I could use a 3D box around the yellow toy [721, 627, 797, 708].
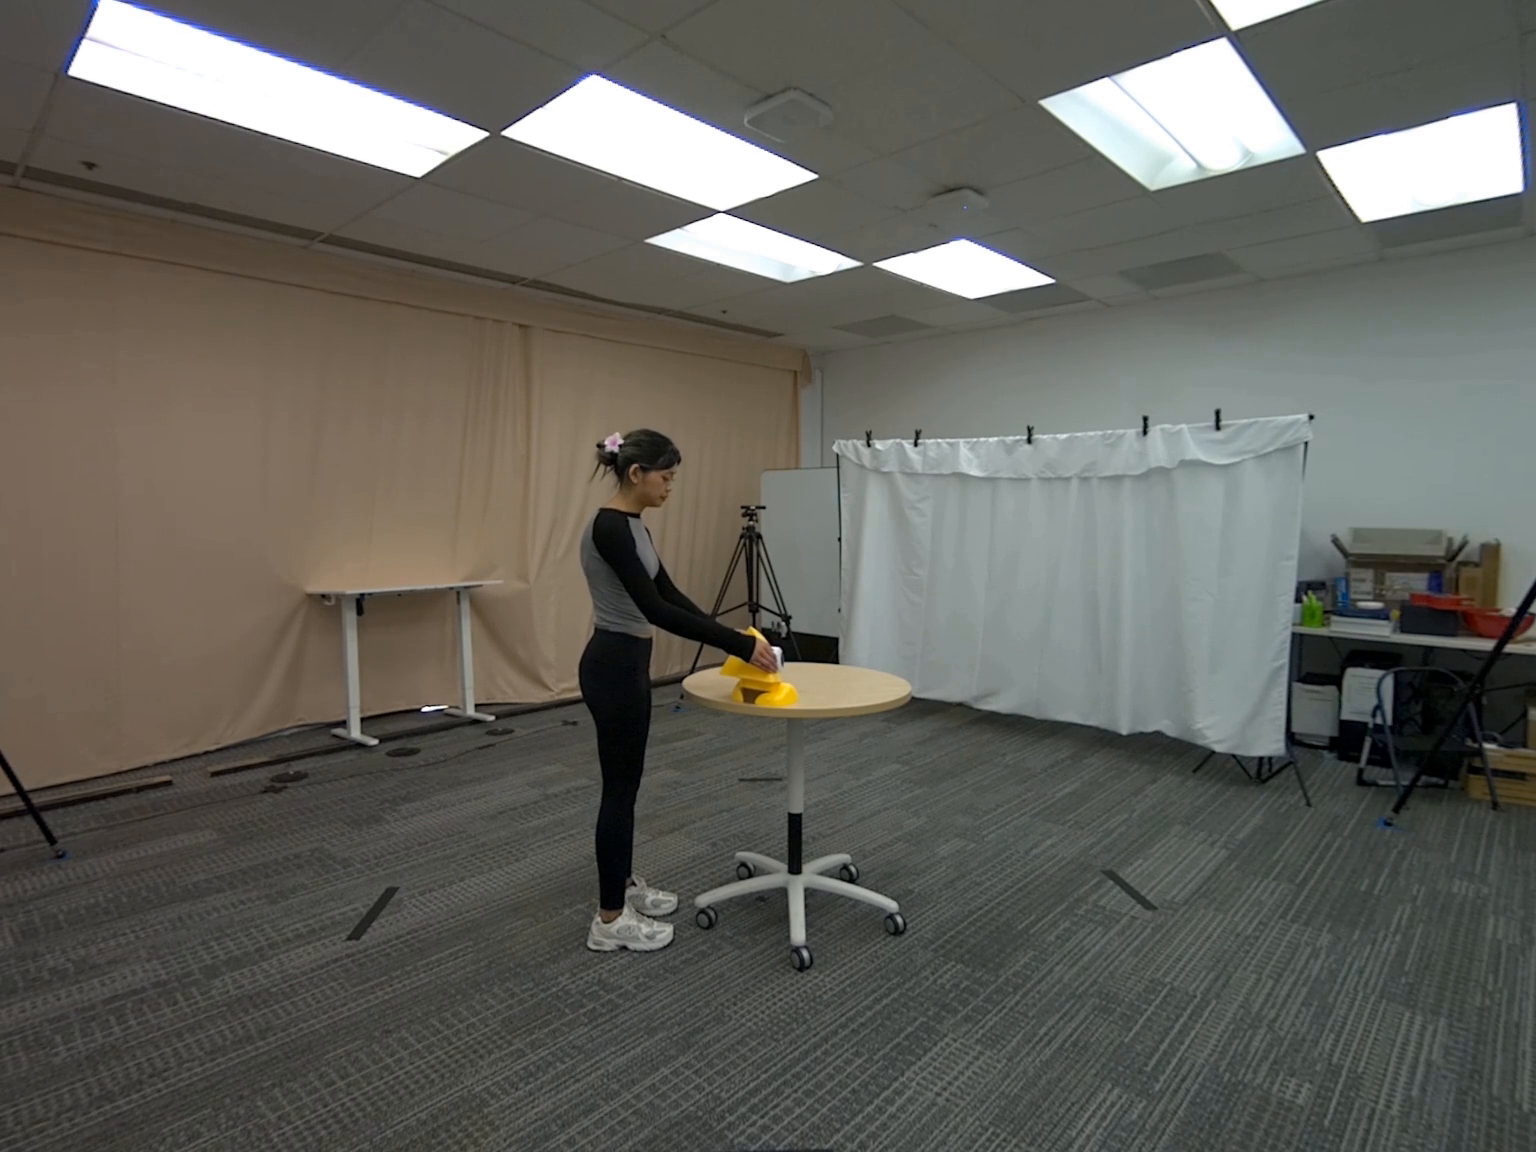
[{"bbox_3d":[-0.015,0.269,2.585,0.211,0.230,0.187,2,2,38],"label":"yellow toy"}]
